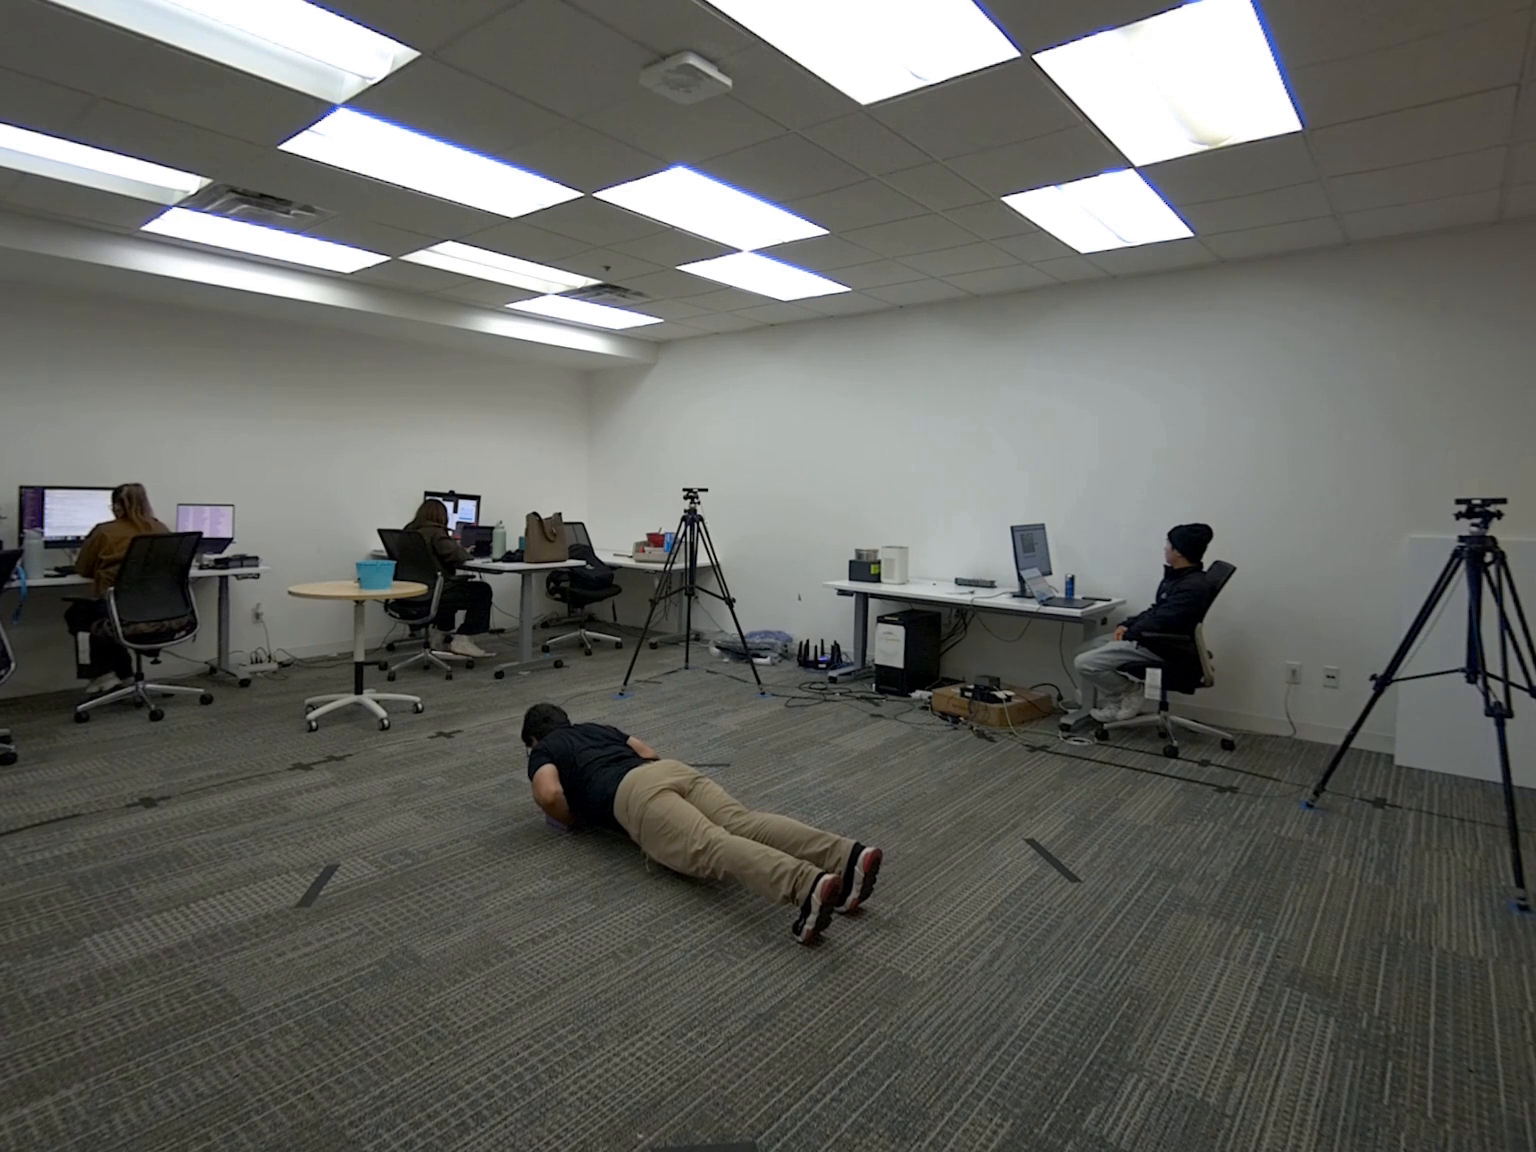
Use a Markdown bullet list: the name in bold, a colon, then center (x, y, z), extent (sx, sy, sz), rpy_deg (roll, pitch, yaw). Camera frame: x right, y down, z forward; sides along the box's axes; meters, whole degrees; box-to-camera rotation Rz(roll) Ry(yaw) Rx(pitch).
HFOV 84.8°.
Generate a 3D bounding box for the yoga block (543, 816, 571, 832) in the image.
- **yoga block**: center (-0.804, 0.974, 3.562), extent (0.154, 0.076, 0.222), rpy_deg (8, 6, 38)
